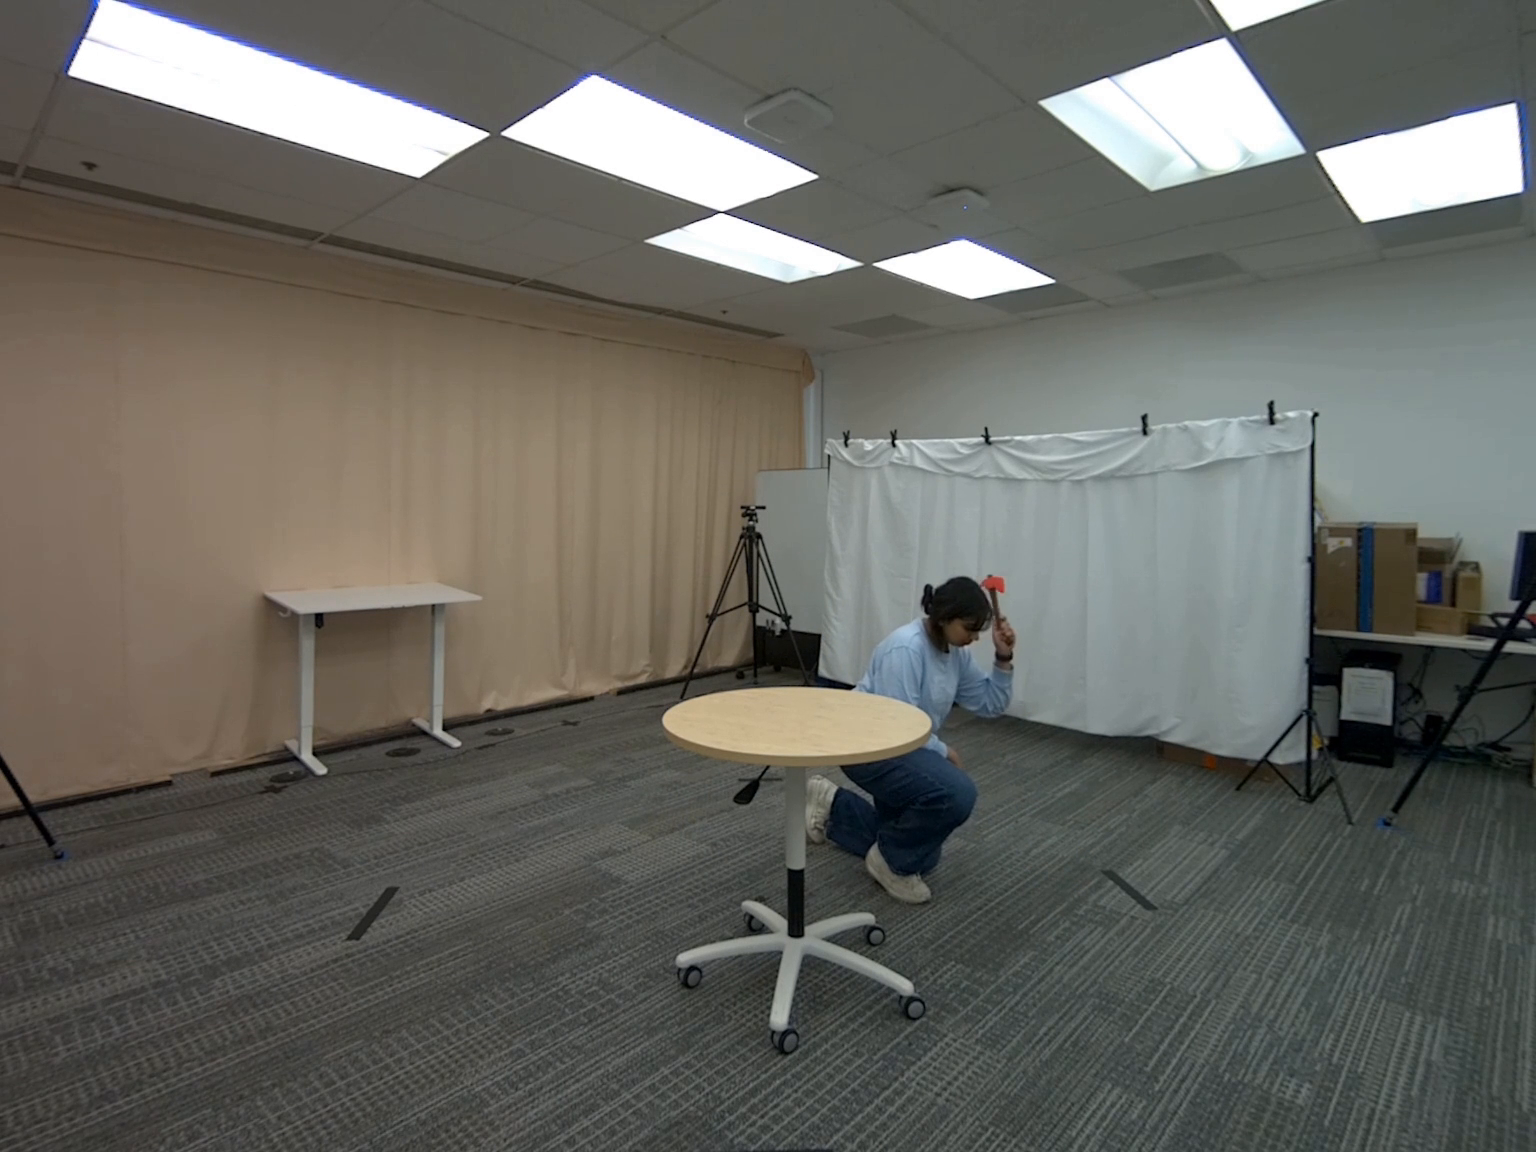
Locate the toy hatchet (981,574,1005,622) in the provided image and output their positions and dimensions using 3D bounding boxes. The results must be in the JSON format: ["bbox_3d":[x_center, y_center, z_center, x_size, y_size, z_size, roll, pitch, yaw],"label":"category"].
[{"bbox_3d":[0.795,0.153,3.152,0.131,0.271,0.029,-8,-7,3],"label":"toy hatchet"}]
